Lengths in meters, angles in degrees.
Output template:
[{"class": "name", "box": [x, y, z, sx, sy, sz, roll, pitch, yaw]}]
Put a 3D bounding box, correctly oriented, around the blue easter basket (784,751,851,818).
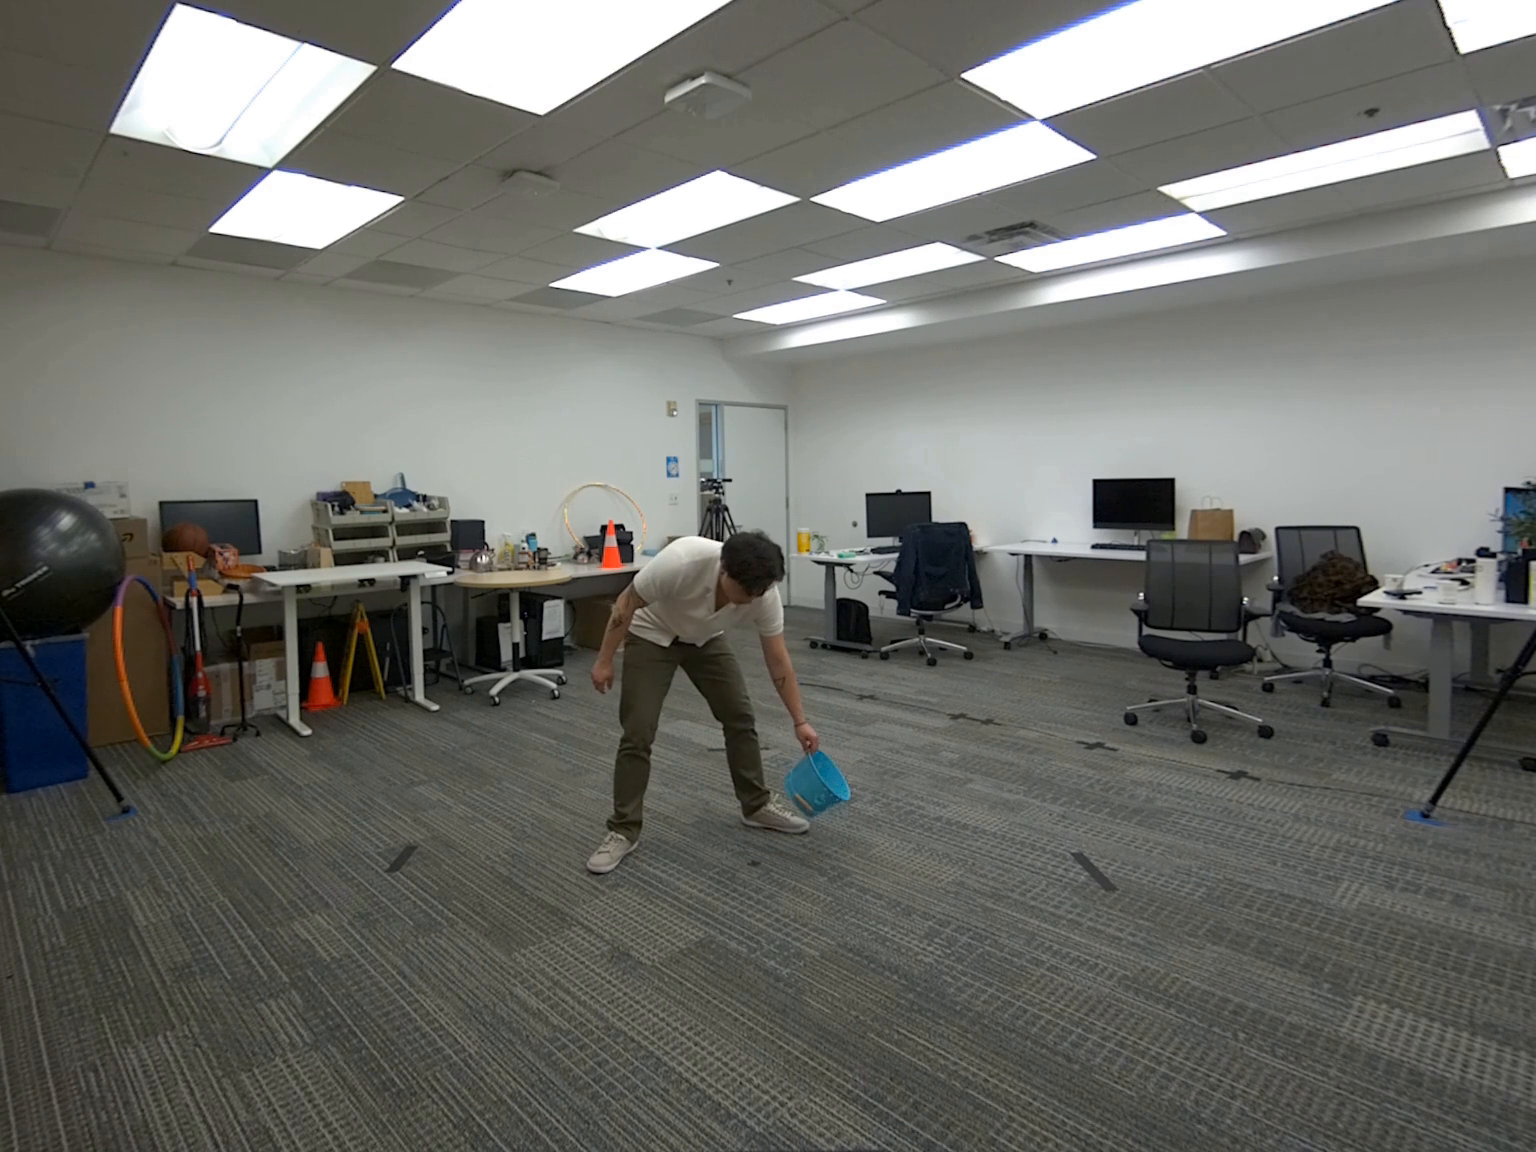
[{"class": "blue easter basket", "box": [0.171, 0.776, 3.196, 0.156, 0.246, 0.241, -42, -6, 14]}]
